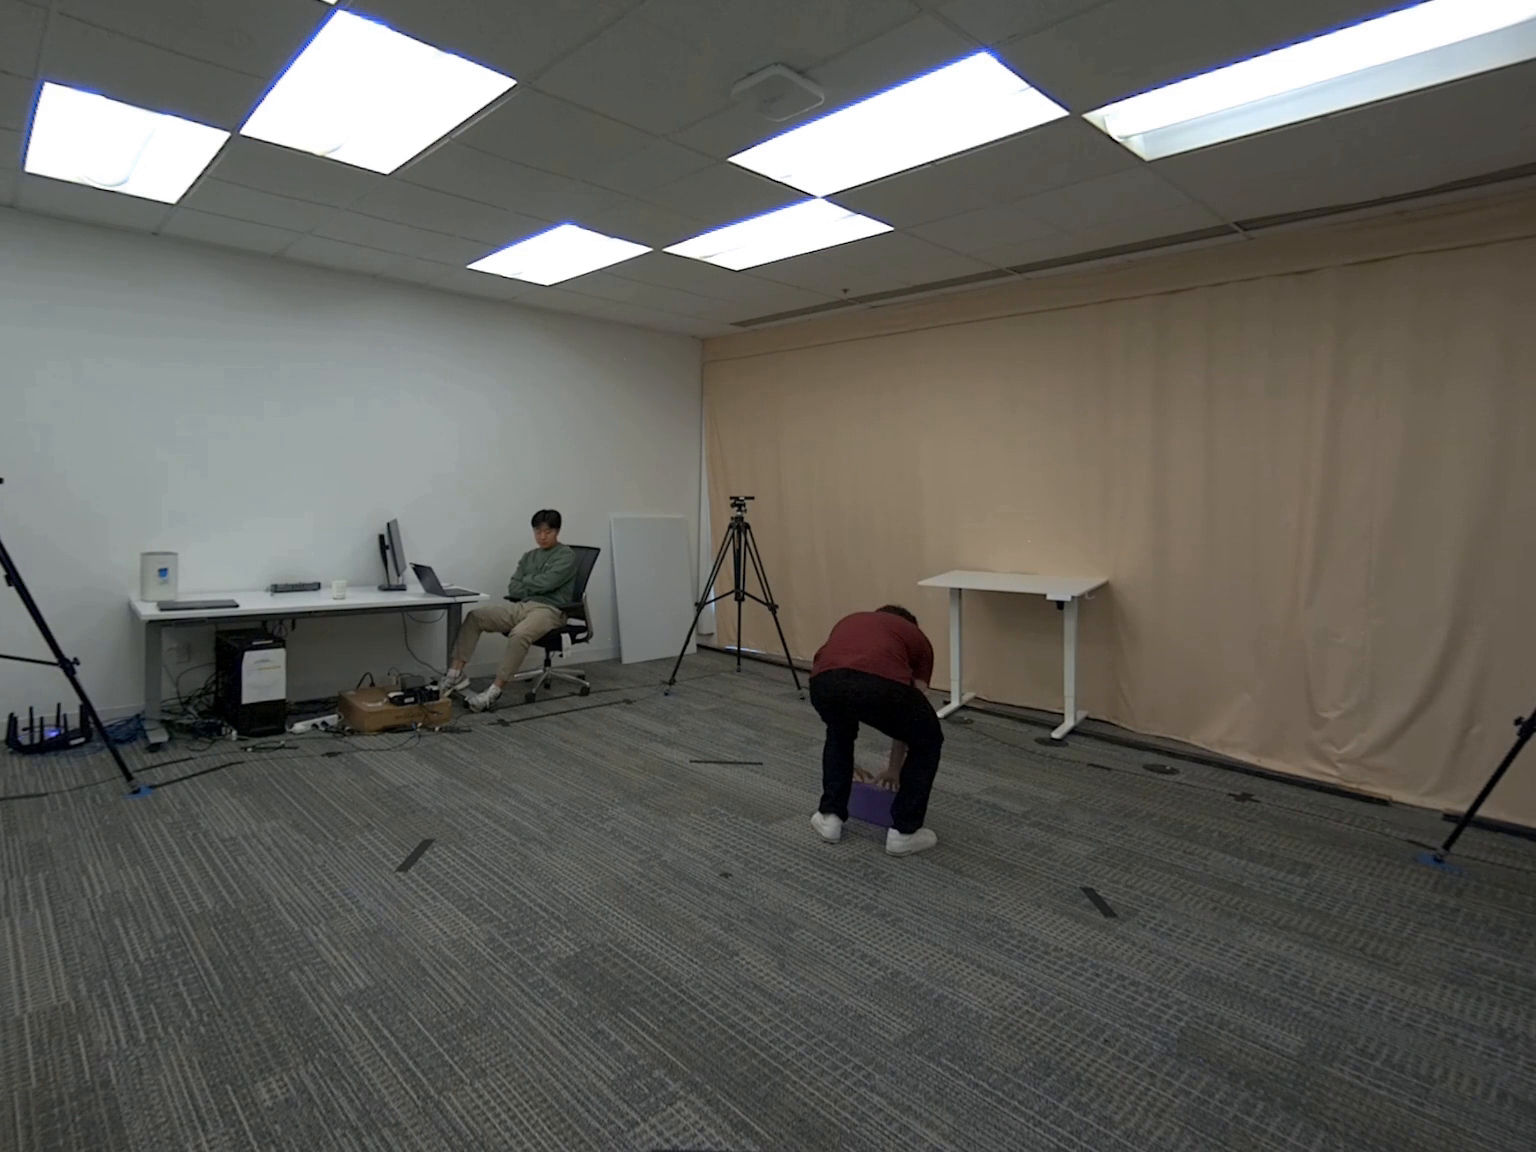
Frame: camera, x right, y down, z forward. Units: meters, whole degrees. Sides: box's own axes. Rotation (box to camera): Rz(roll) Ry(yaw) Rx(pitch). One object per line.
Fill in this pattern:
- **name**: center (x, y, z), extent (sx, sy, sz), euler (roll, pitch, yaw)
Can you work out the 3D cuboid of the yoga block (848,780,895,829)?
- **yoga block**: center (0.447, 0.994, 3.690), extent (0.235, 0.149, 0.074), euler (3, 1, 42)
